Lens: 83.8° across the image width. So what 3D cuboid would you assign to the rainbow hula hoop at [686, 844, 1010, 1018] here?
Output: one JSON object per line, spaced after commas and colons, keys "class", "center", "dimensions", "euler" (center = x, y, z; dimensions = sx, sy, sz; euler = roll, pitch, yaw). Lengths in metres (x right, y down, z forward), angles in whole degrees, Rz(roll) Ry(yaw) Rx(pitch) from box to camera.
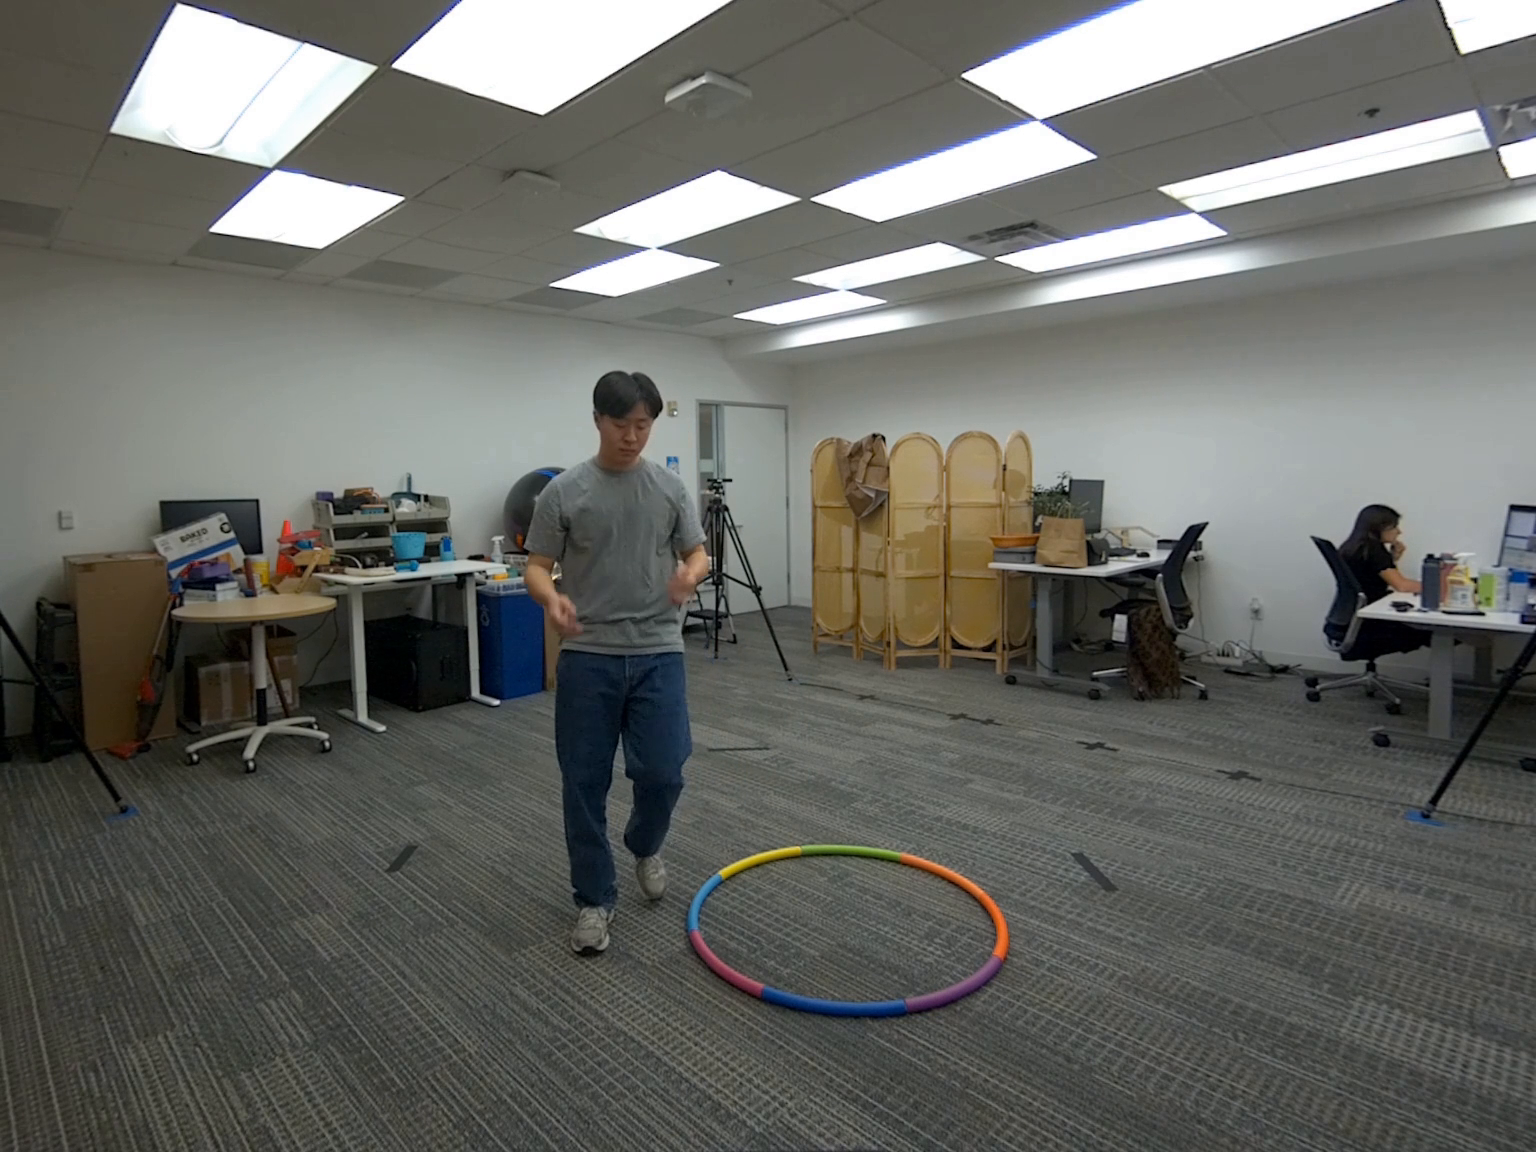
{"class": "rainbow hula hoop", "center": [0.235, 1.061, 2.696], "dimensions": [0.978, 0.035, 0.984], "euler": [-2, 7, -2]}
